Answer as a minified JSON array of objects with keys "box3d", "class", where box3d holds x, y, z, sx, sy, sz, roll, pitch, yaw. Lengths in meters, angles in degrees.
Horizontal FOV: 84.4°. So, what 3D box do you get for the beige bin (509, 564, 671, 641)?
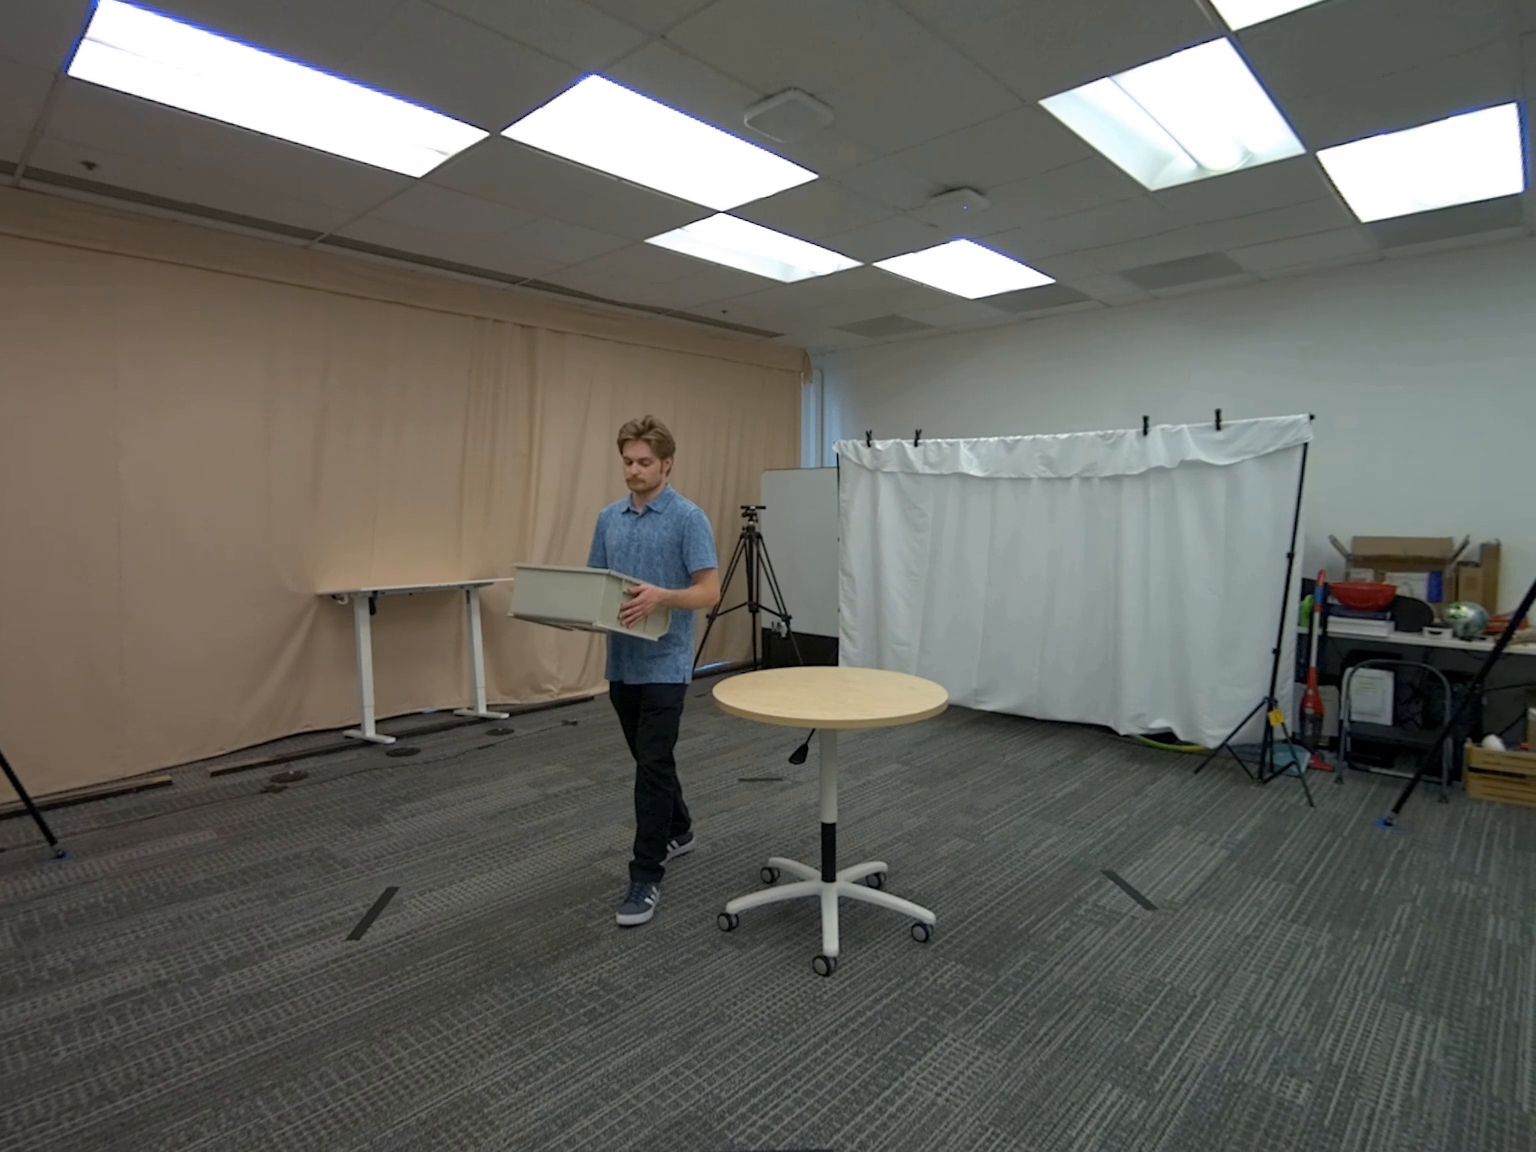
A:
[{"box3d":[-0.602,0.095,2.852,0.435,0.189,0.365,5,-8,31],"class":"beige bin"}]
